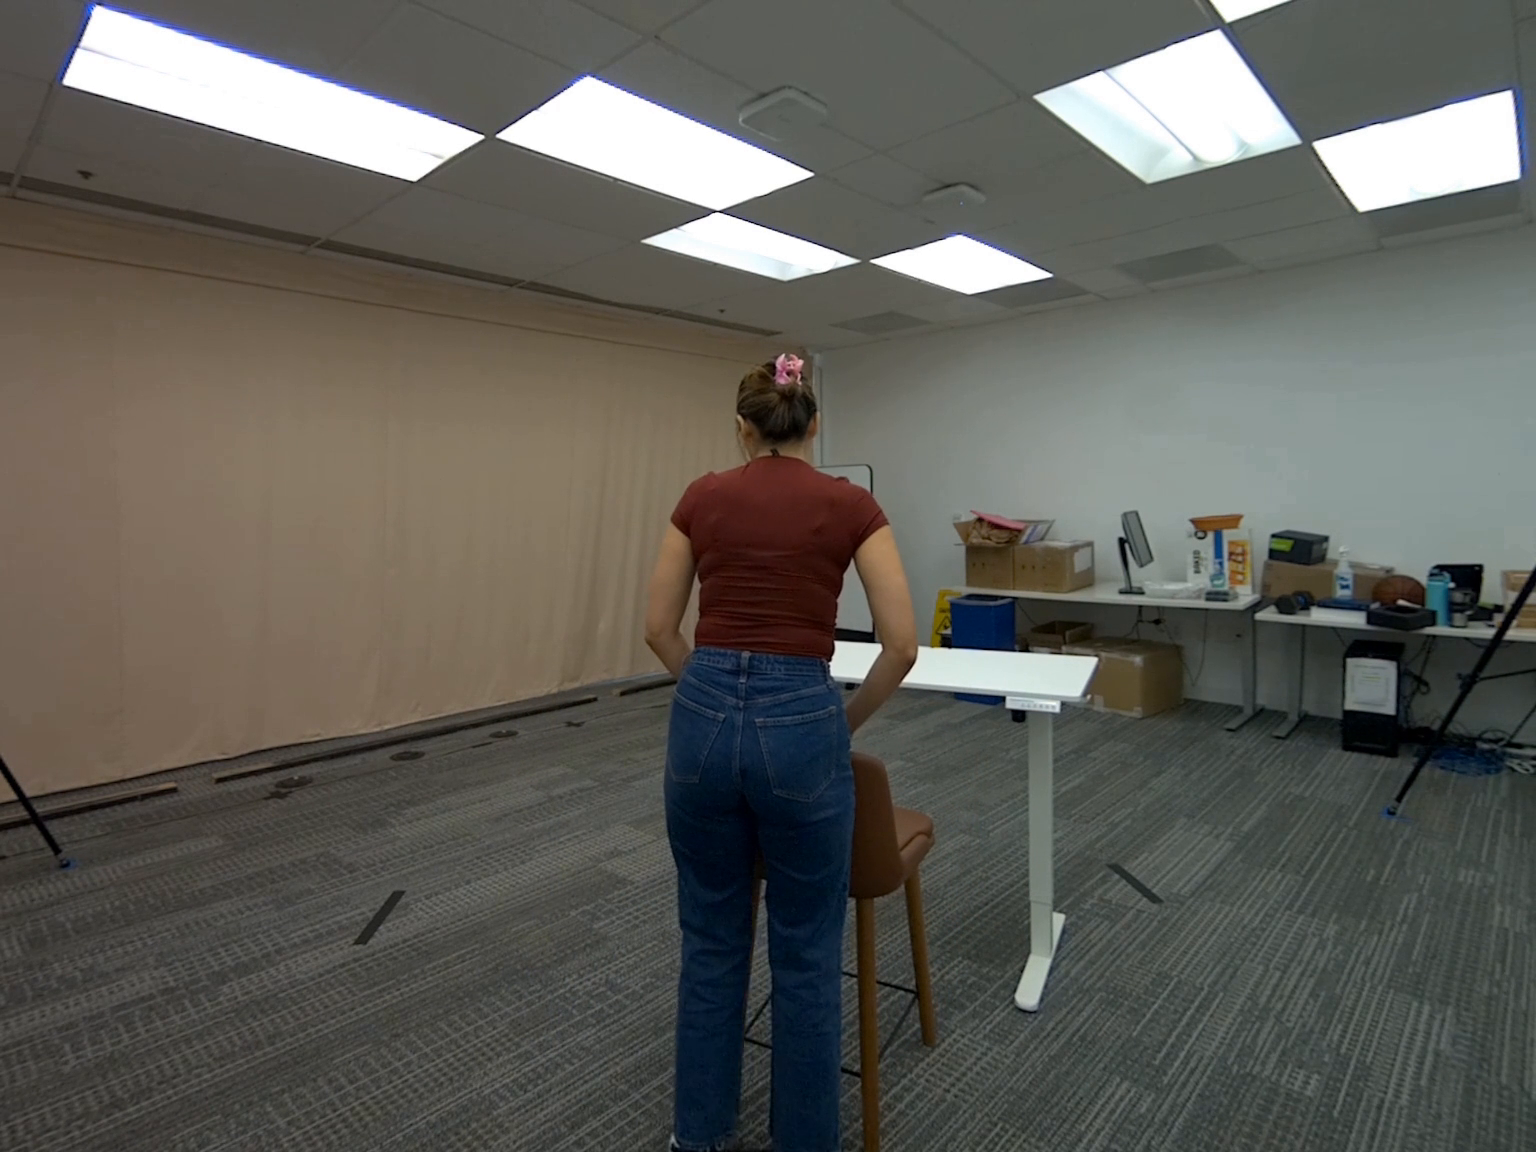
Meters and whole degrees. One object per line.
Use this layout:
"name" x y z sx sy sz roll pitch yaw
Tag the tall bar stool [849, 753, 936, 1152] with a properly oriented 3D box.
"tall bar stool" 0.151 0.780 2.038 0.469 0.886 0.457 1 7 28
